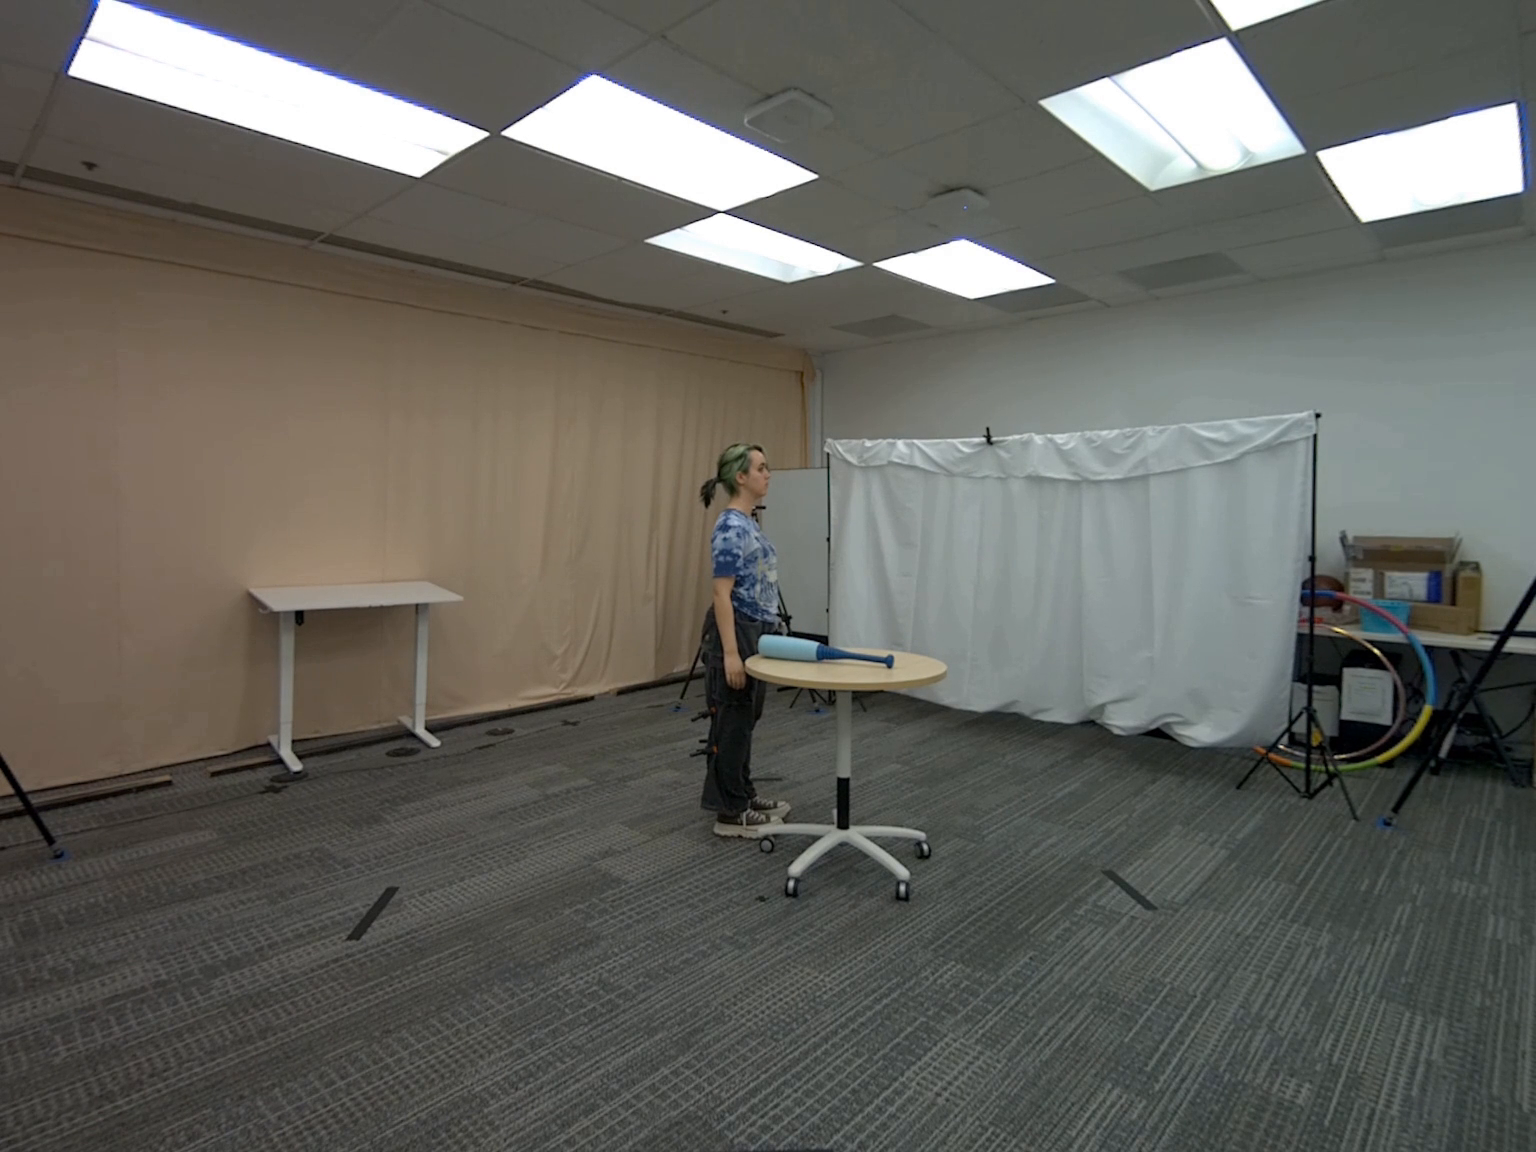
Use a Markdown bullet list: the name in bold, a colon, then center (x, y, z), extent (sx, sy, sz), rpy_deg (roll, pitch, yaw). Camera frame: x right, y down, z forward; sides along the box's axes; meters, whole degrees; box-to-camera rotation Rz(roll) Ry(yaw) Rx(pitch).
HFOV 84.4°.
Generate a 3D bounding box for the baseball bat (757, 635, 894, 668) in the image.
- **baseball bat**: center (0.224, 0.301, 3.253), extent (0.557, 0.089, 0.087), rpy_deg (5, 5, 25)
